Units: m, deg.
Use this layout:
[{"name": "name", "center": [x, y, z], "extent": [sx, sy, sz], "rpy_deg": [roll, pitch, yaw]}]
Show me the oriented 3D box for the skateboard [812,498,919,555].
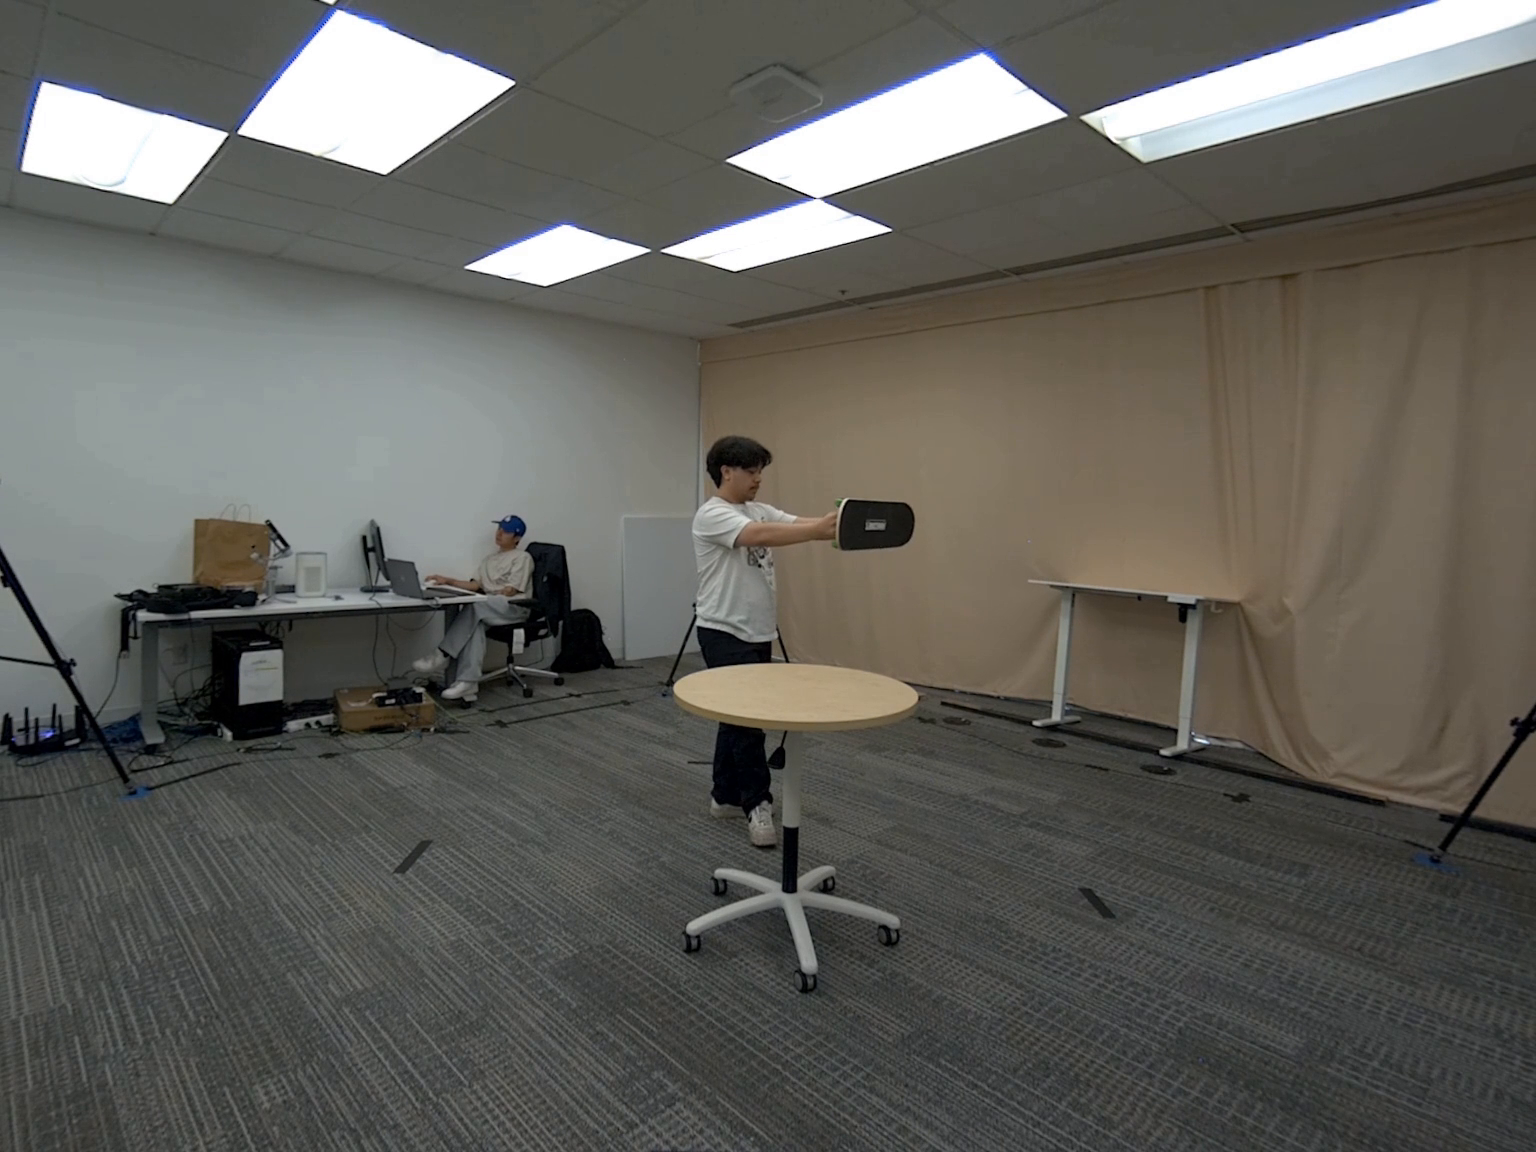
[{"name": "skateboard", "center": [0.399, -0.197, 3.326], "extent": [0.113, 0.193, 0.770], "rpy_deg": [5, 5, 29]}]
